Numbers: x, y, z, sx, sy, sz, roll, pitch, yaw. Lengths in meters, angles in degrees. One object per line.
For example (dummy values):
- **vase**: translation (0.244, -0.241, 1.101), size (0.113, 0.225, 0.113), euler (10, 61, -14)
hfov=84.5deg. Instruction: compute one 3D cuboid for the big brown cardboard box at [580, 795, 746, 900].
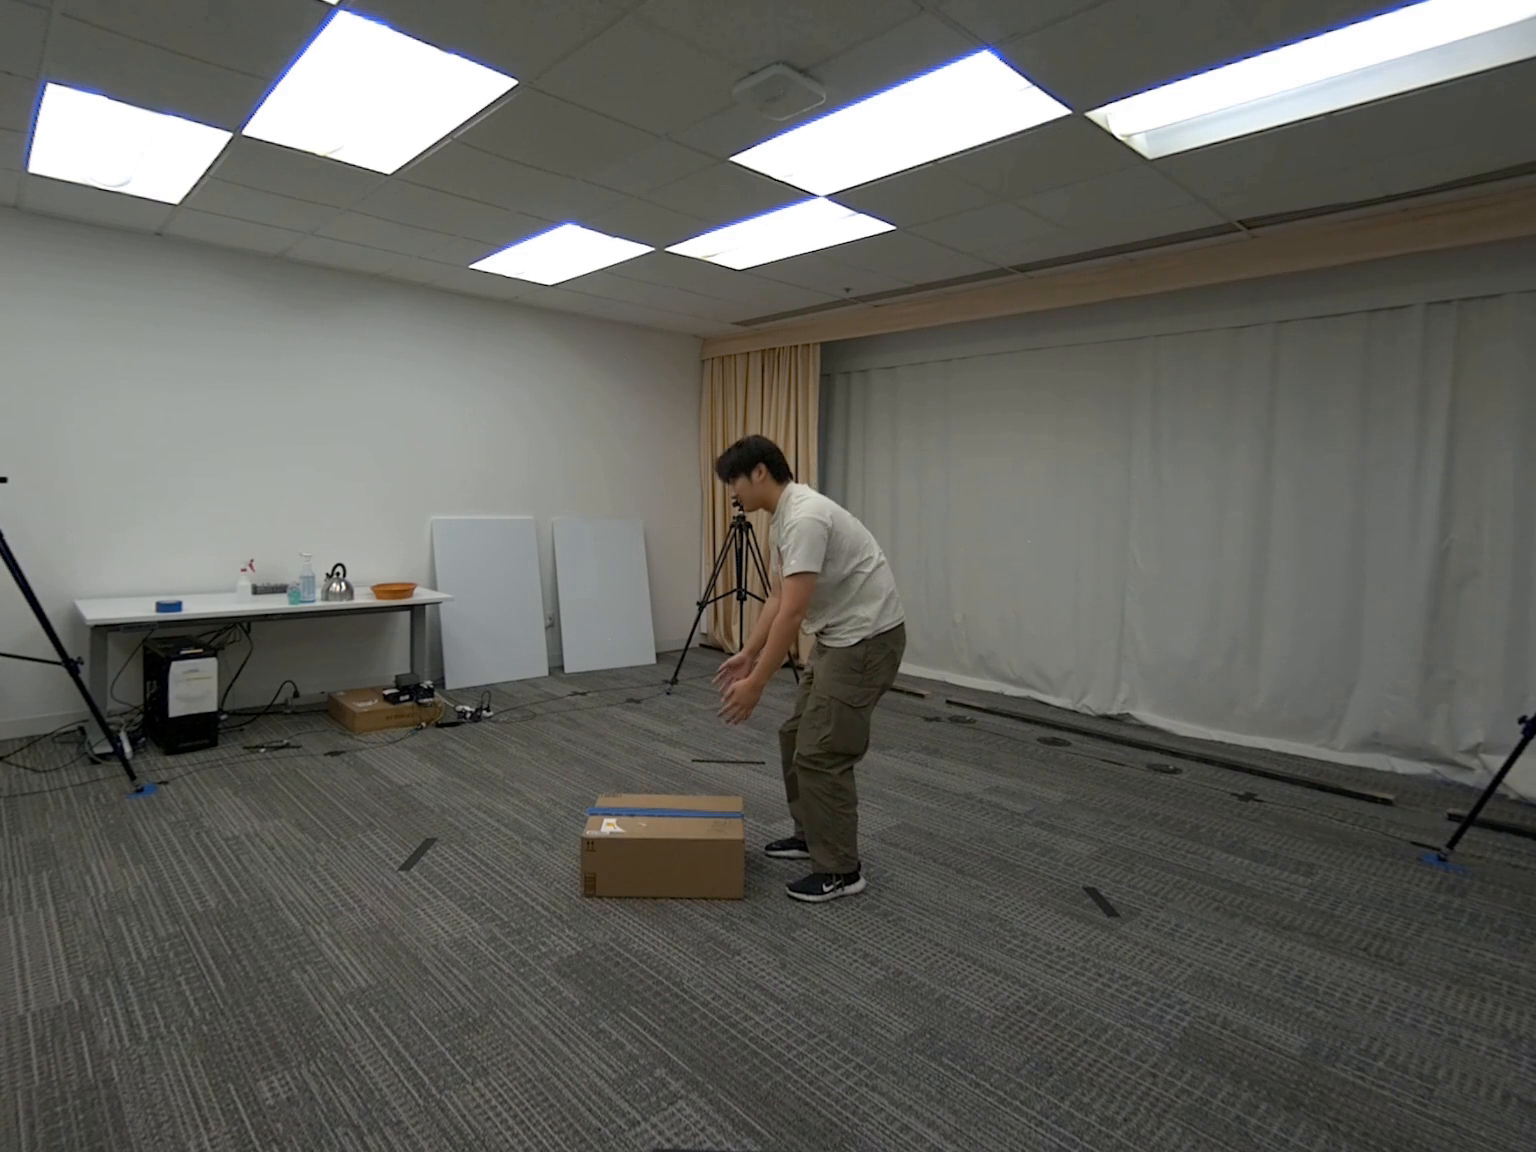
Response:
- **big brown cardboard box**: translation (-0.385, 0.982, 3.104), size (0.588, 0.232, 0.419), euler (2, 5, -2)
